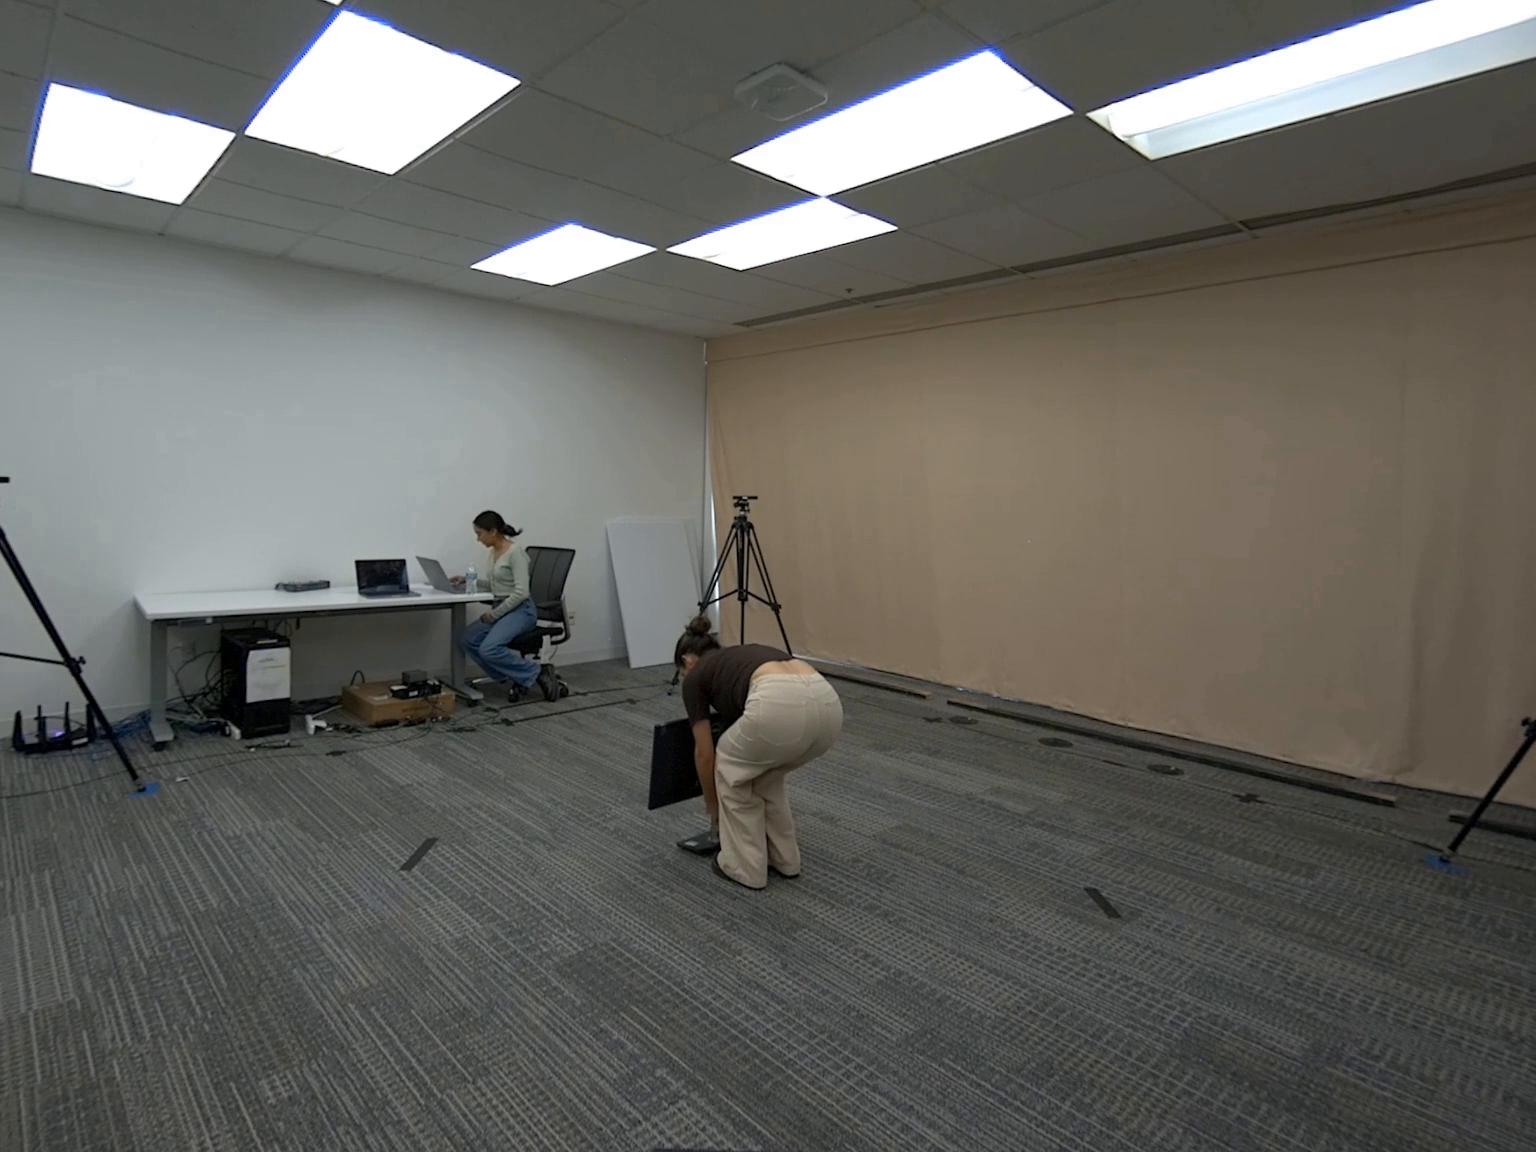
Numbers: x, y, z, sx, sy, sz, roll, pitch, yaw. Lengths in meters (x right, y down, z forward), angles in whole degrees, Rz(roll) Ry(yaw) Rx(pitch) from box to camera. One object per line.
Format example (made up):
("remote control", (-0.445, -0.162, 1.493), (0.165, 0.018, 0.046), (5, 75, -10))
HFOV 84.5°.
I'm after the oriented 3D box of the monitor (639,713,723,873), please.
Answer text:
("monitor", (-0.222, 0.809, 3.361), (0.527, 0.522, 0.191), (-4, 2, -41))
